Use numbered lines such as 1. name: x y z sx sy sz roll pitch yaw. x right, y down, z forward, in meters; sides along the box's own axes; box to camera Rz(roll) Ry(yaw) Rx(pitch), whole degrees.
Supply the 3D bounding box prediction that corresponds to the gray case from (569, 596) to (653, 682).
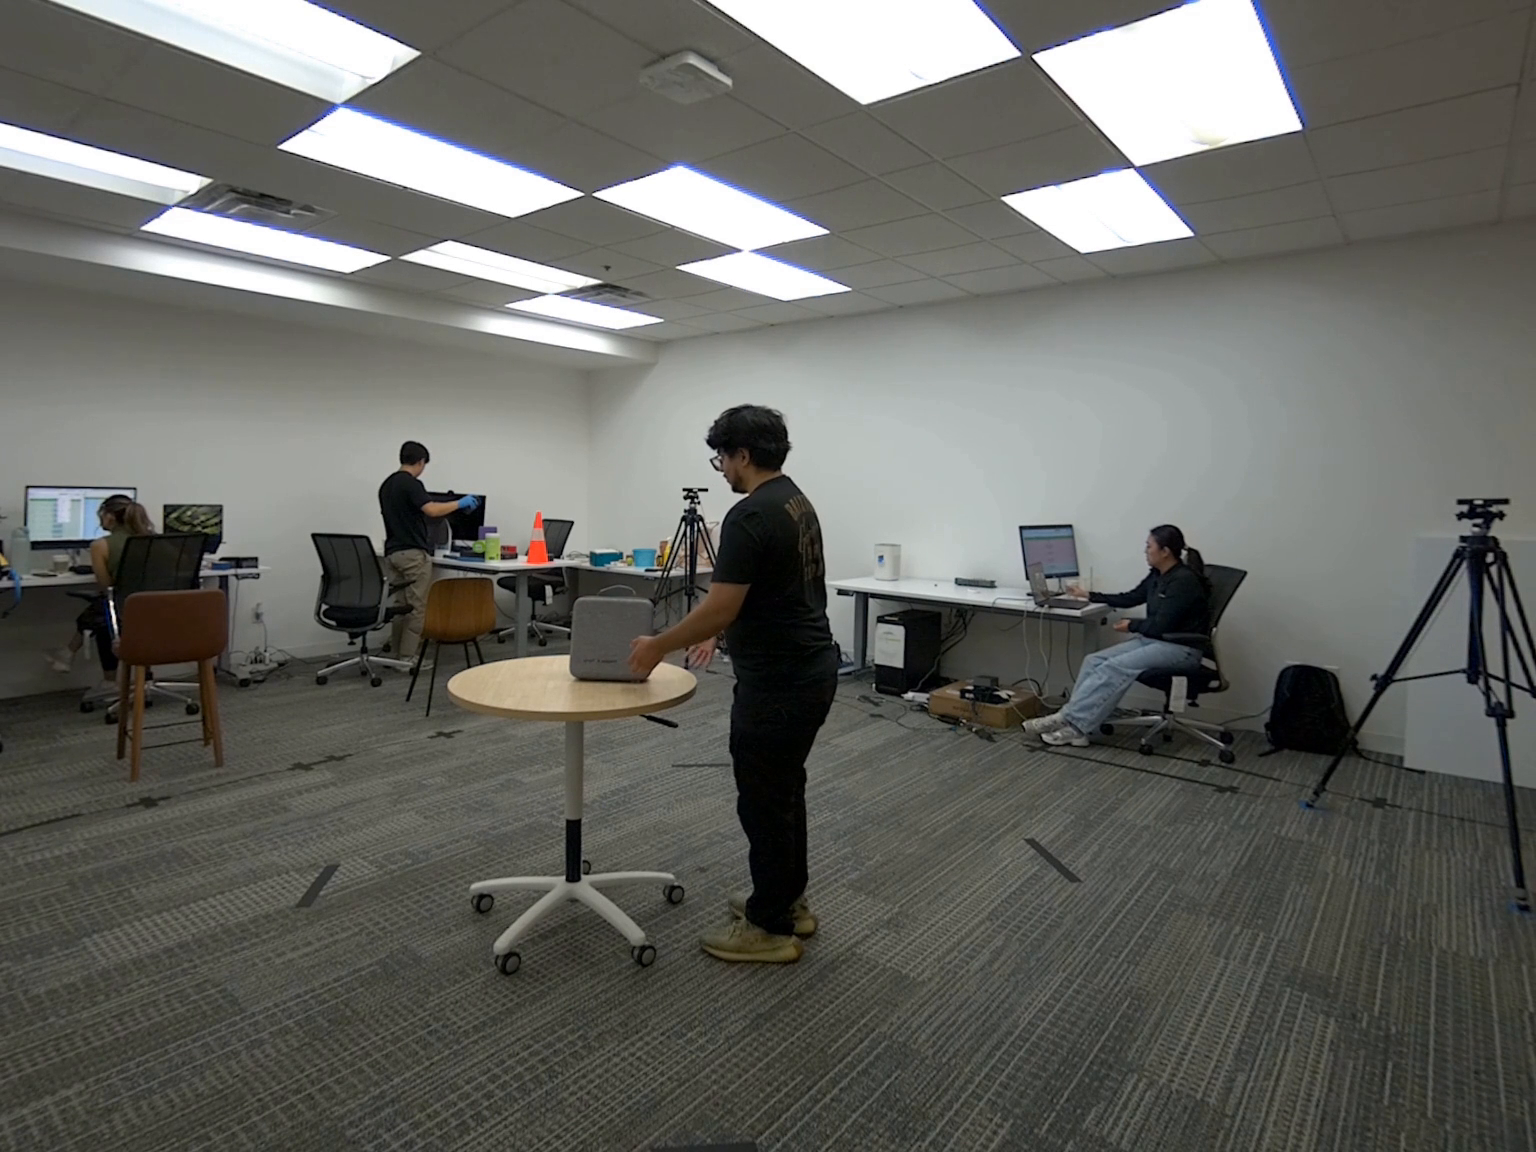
1. gray case: -0.512 0.187 2.707 0.258 0.263 0.103 1 -8 2
